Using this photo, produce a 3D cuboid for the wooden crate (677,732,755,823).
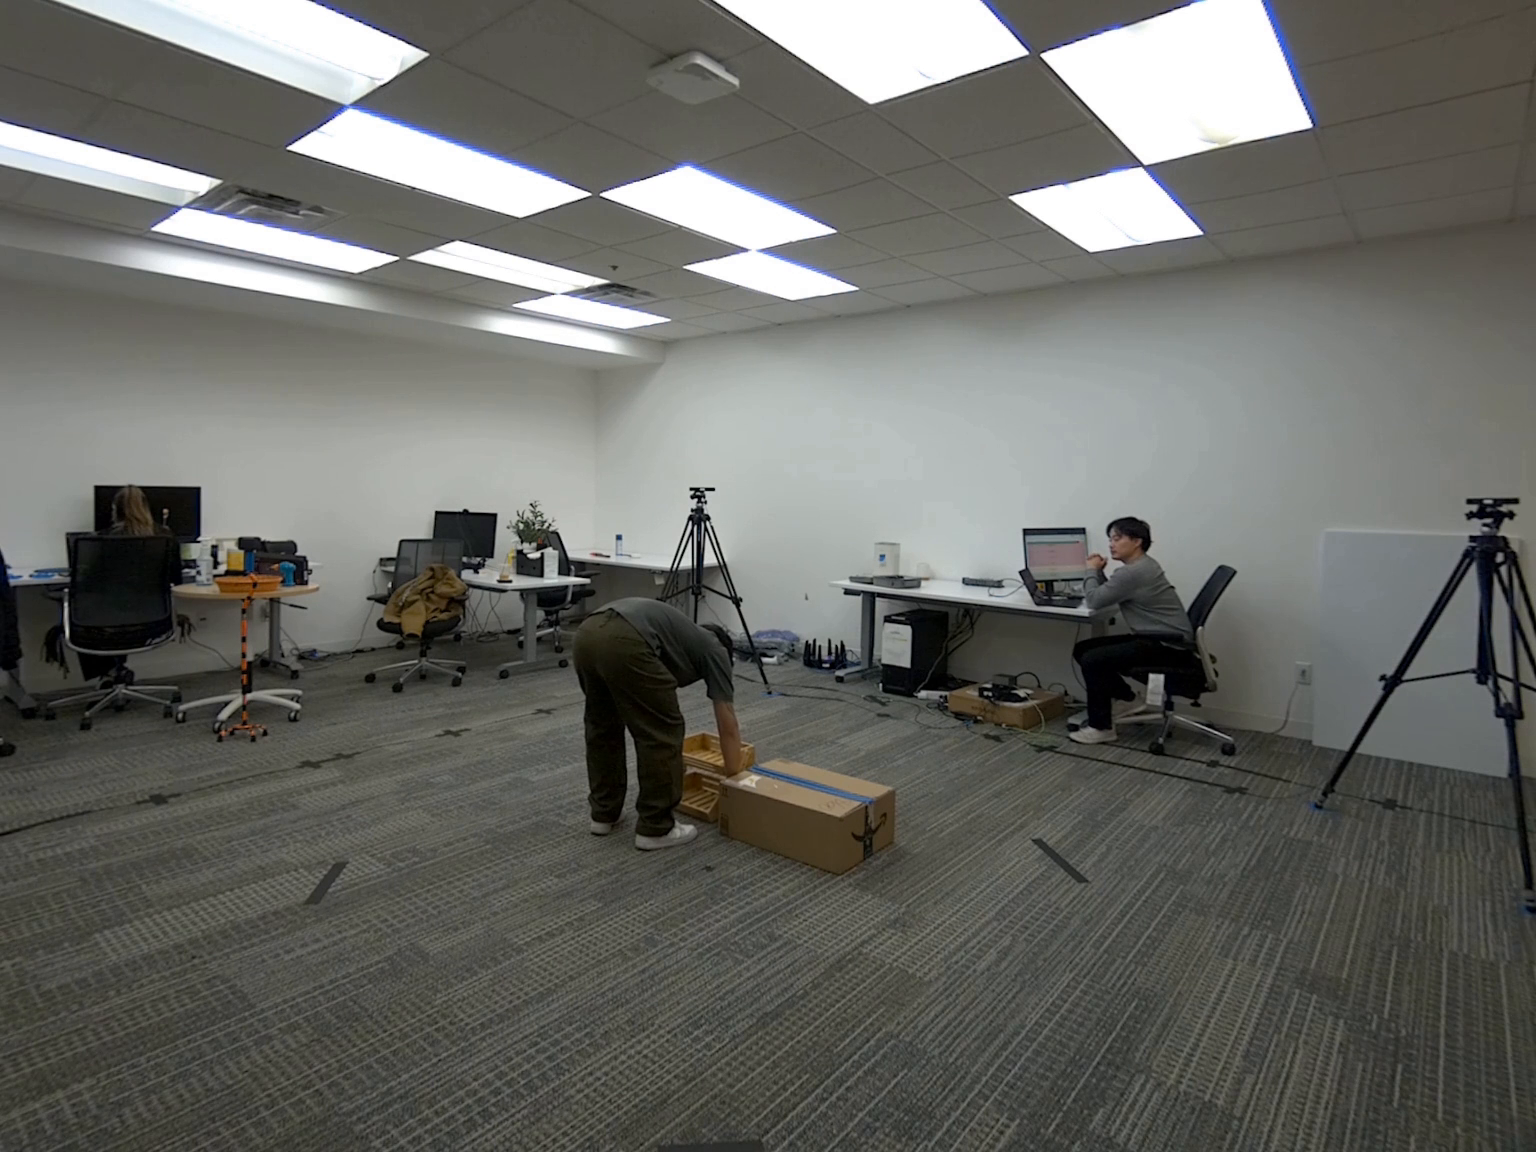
[{"bbox_3d":[-0.280,0.862,3.715,0.335,0.272,0.293,4,6,39],"label":"wooden crate"}]
